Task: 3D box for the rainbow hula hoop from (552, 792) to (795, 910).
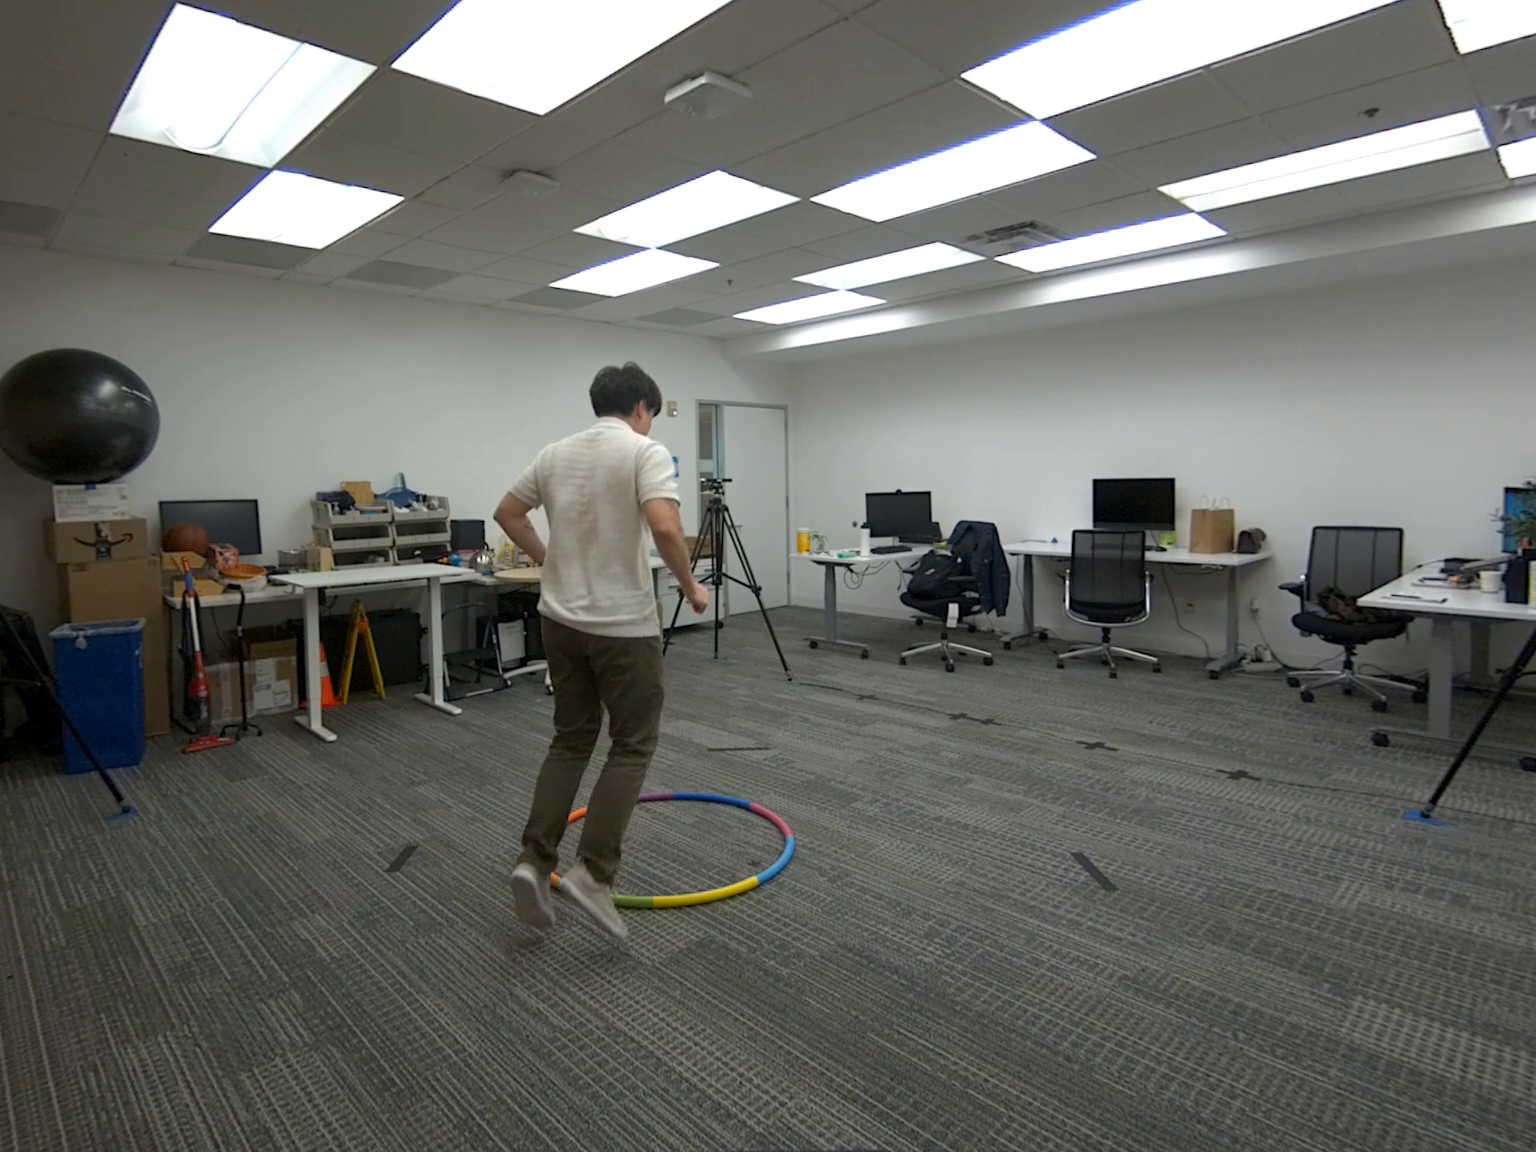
[{"bbox_3d":[-0.393,1.002,3.271,0.978,0.035,0.984,-1,6,-2],"label":"rainbow hula hoop"}]
